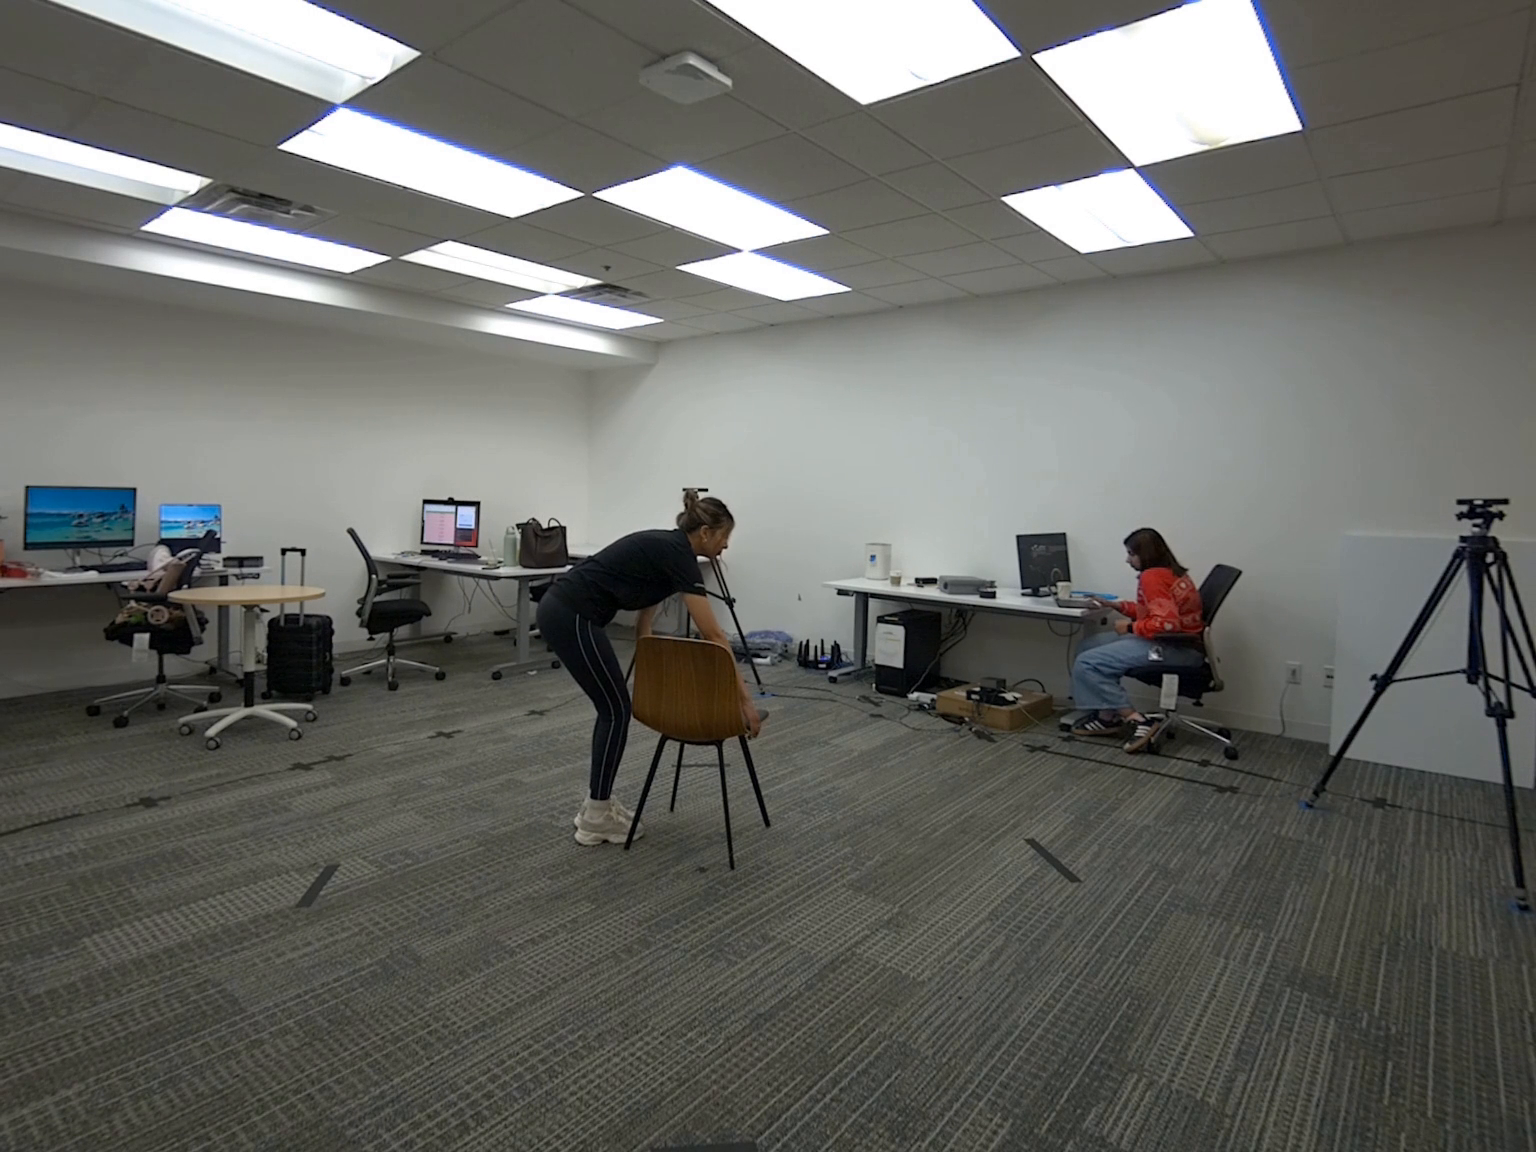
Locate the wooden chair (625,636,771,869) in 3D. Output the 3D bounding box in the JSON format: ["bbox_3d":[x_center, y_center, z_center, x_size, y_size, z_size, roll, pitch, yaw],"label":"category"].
[{"bbox_3d":[-0.269,0.613,3.373,0.488,0.872,0.516,2,7,19],"label":"wooden chair"}]
